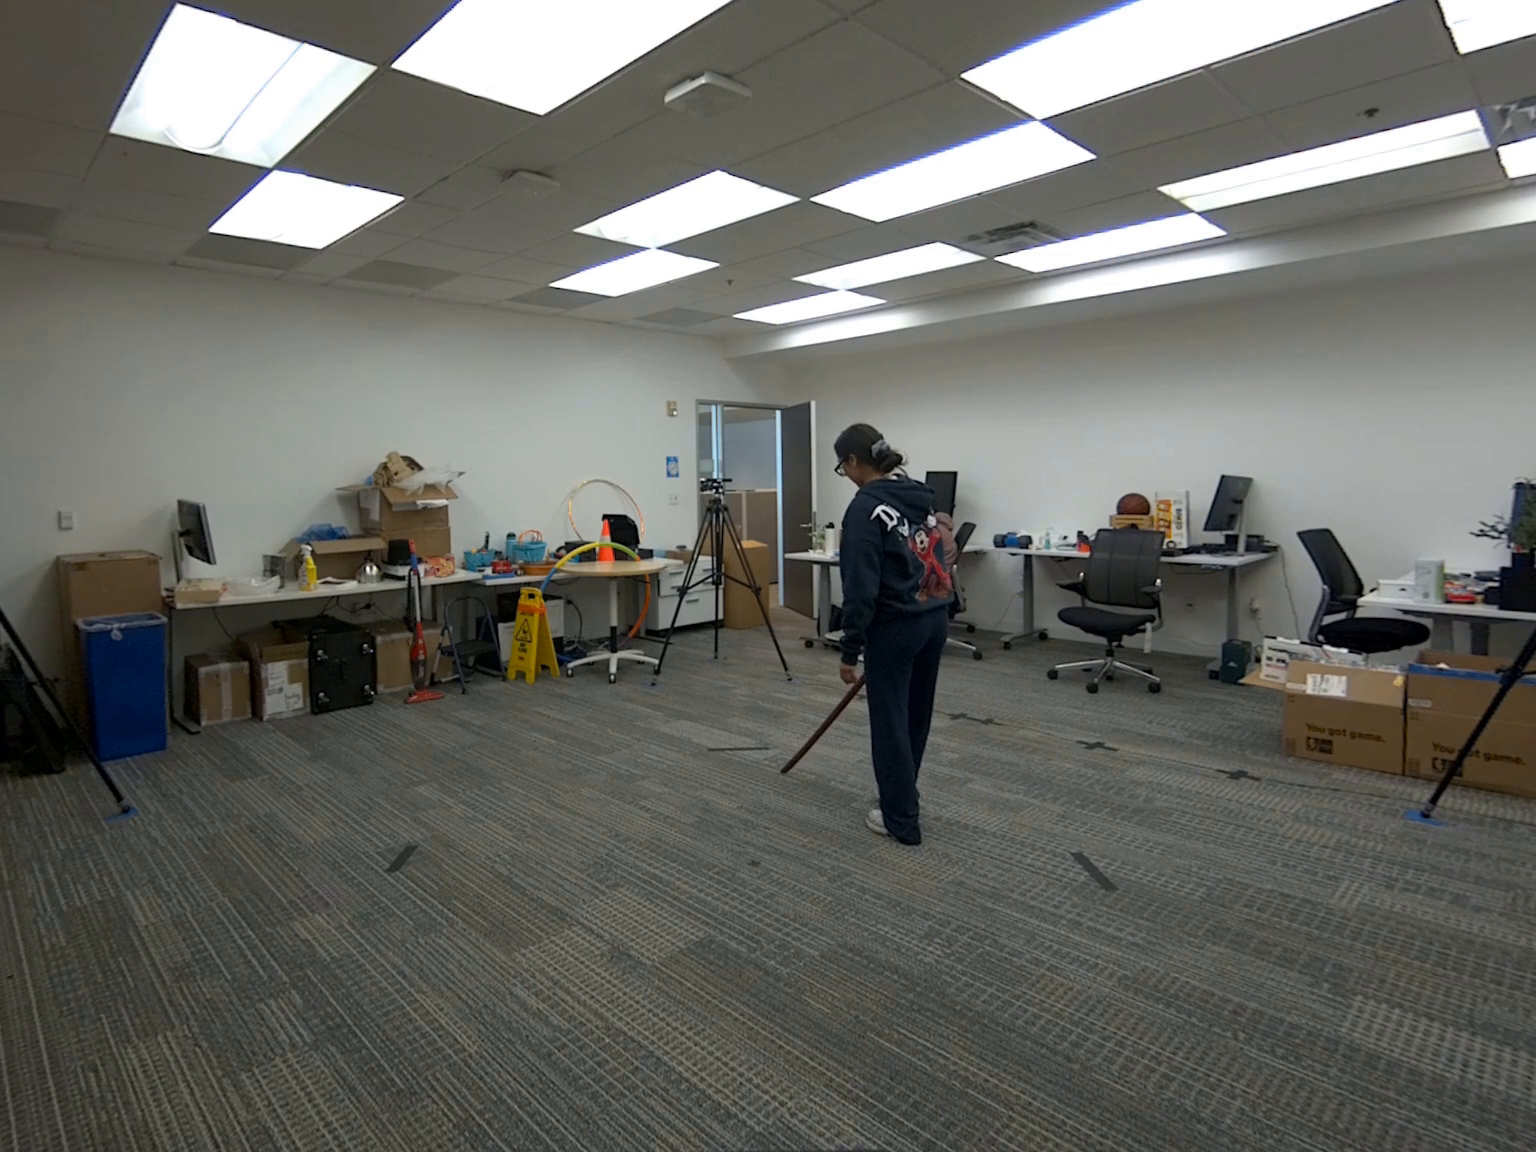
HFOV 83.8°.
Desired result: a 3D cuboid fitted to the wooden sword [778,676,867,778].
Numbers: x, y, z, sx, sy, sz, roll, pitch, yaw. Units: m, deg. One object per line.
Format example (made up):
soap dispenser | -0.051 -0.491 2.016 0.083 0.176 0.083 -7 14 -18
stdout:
wooden sword | 0.335 0.585 3.825 0.050 1.019 0.025 14 36 -33
